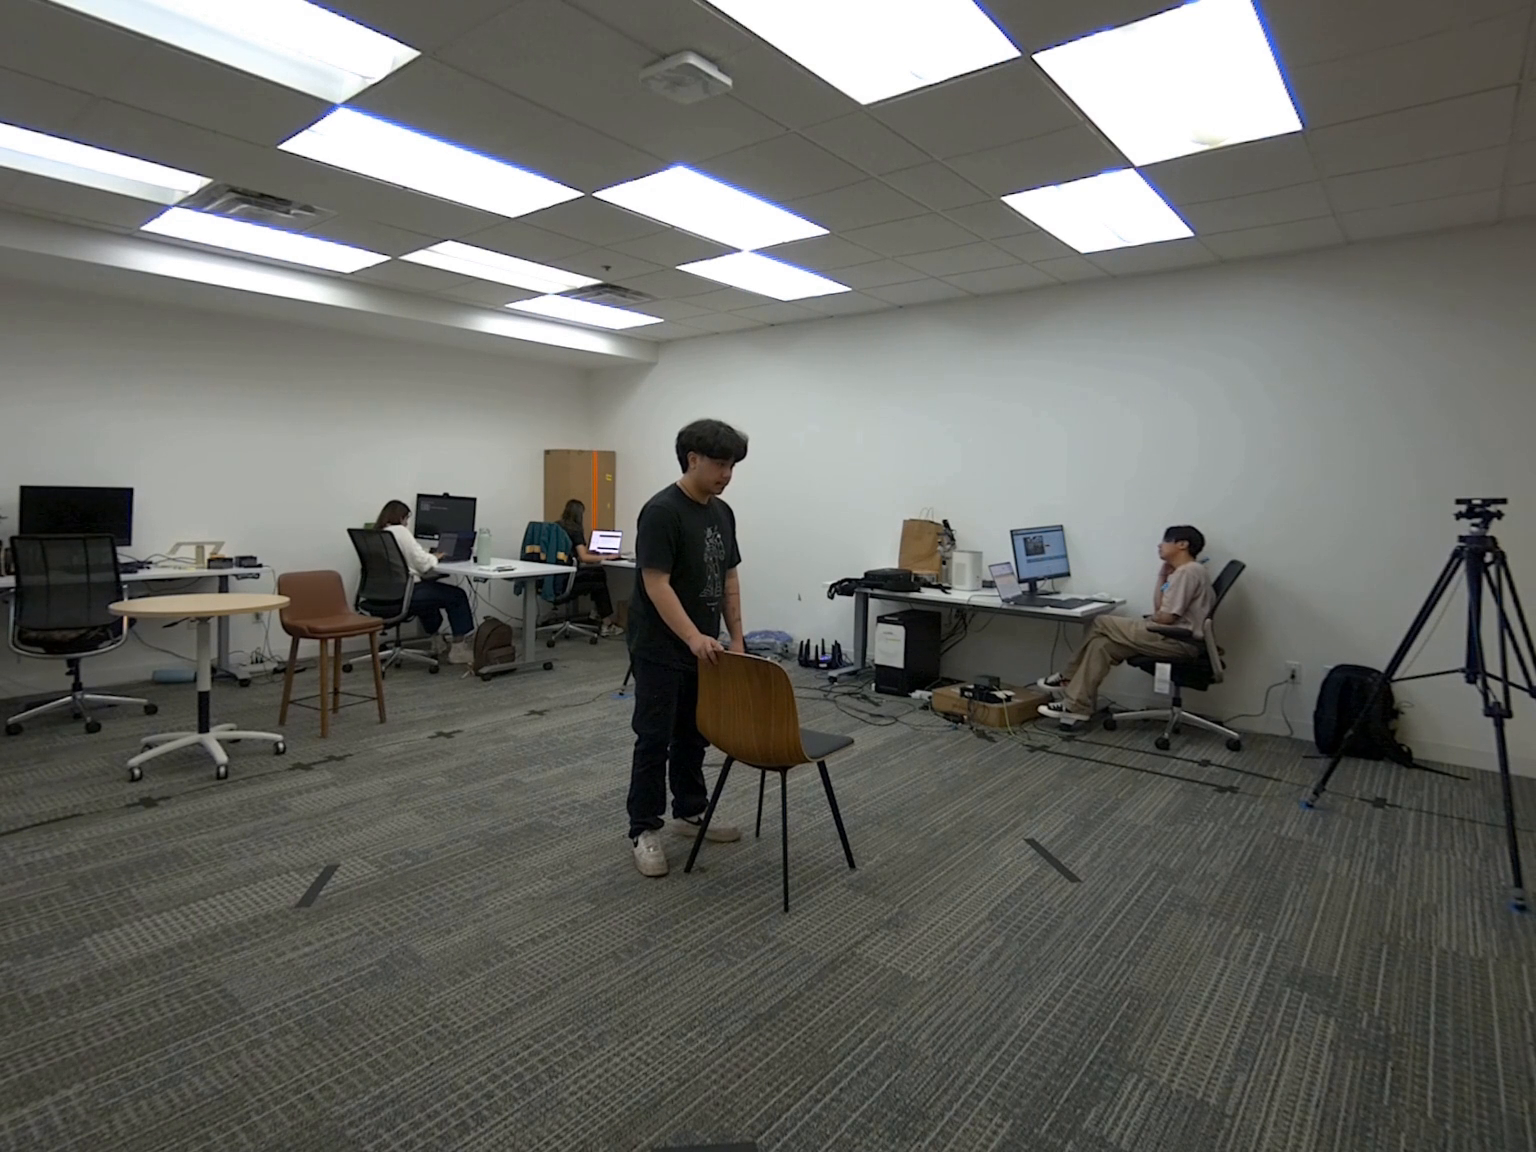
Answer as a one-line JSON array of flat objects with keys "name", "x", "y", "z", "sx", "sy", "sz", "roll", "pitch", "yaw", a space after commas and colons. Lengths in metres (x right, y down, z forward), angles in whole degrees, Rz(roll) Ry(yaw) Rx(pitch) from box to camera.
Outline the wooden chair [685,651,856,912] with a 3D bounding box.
[{"name": "wooden chair", "x": 0.017, "y": 0.648, "z": 3.087, "sx": 0.494, "sy": 0.872, "sz": 0.510, "roll": 3, "pitch": 8, "yaw": 37}]
